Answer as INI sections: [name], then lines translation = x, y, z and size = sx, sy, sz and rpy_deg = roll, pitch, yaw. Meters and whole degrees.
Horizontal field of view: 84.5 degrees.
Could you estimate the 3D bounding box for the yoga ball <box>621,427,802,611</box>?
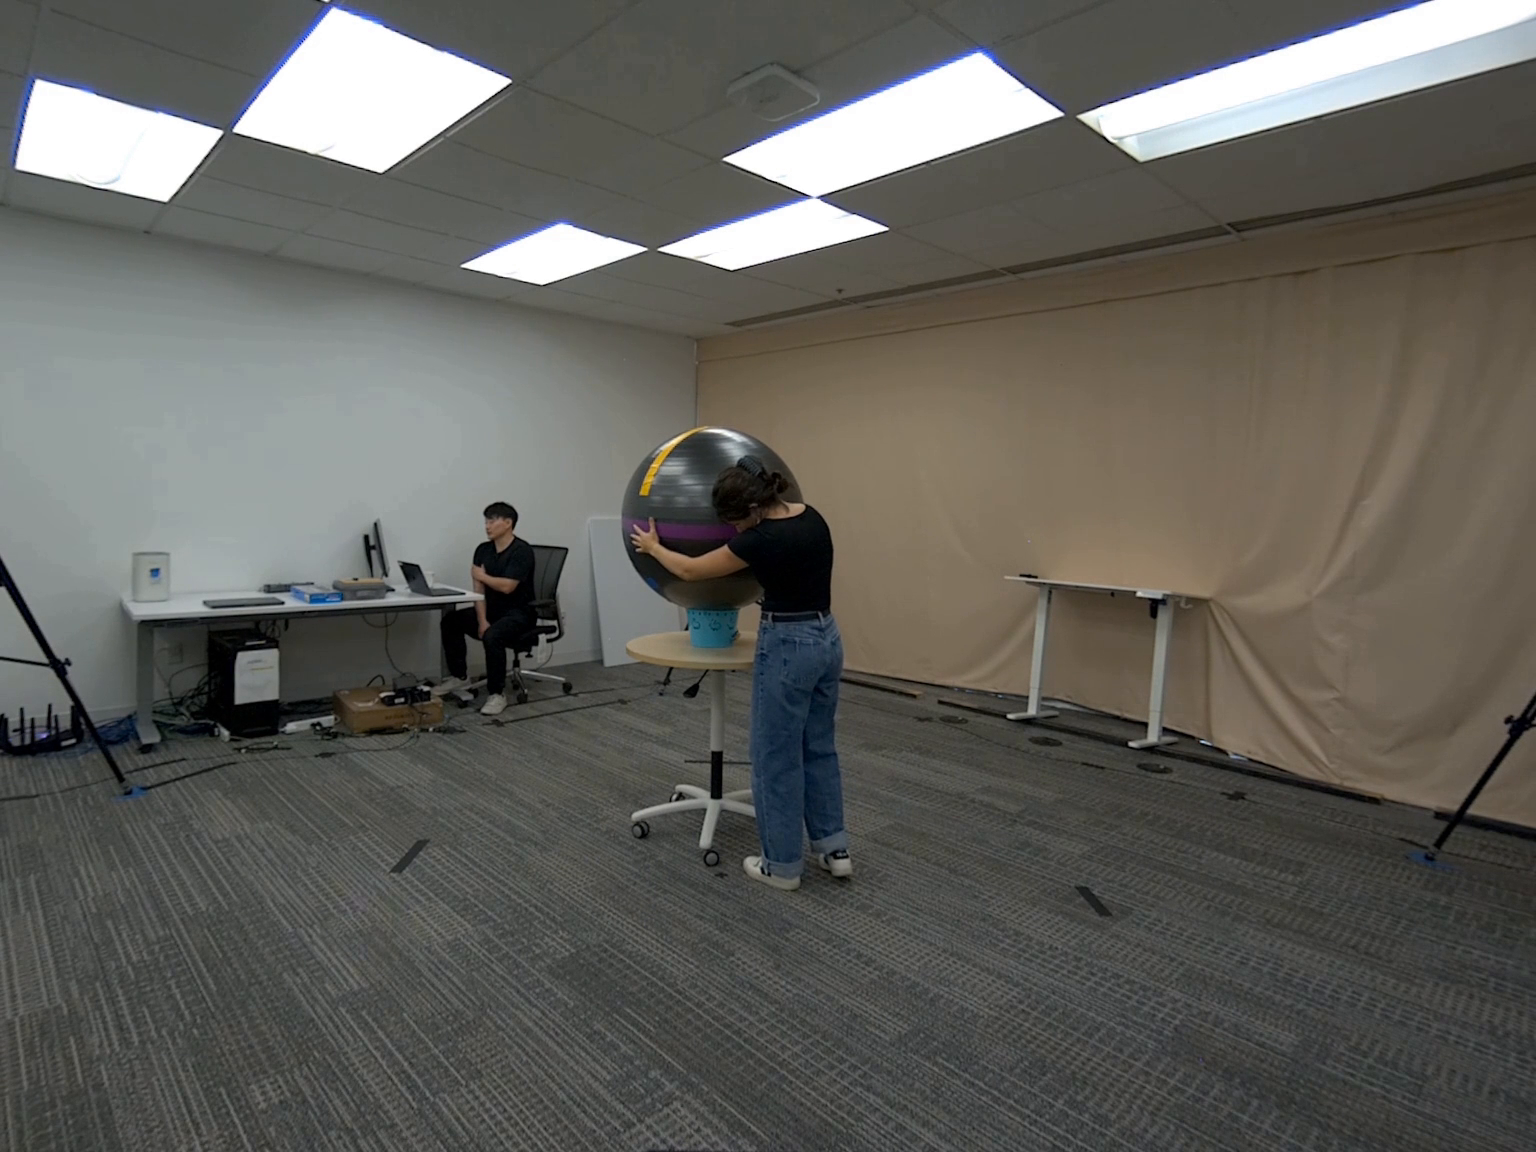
[yoga ball]
translation = -0.231, -0.230, 3.483
size = 0.757, 0.756, 0.761
rpy_deg = 1, 4, -1
